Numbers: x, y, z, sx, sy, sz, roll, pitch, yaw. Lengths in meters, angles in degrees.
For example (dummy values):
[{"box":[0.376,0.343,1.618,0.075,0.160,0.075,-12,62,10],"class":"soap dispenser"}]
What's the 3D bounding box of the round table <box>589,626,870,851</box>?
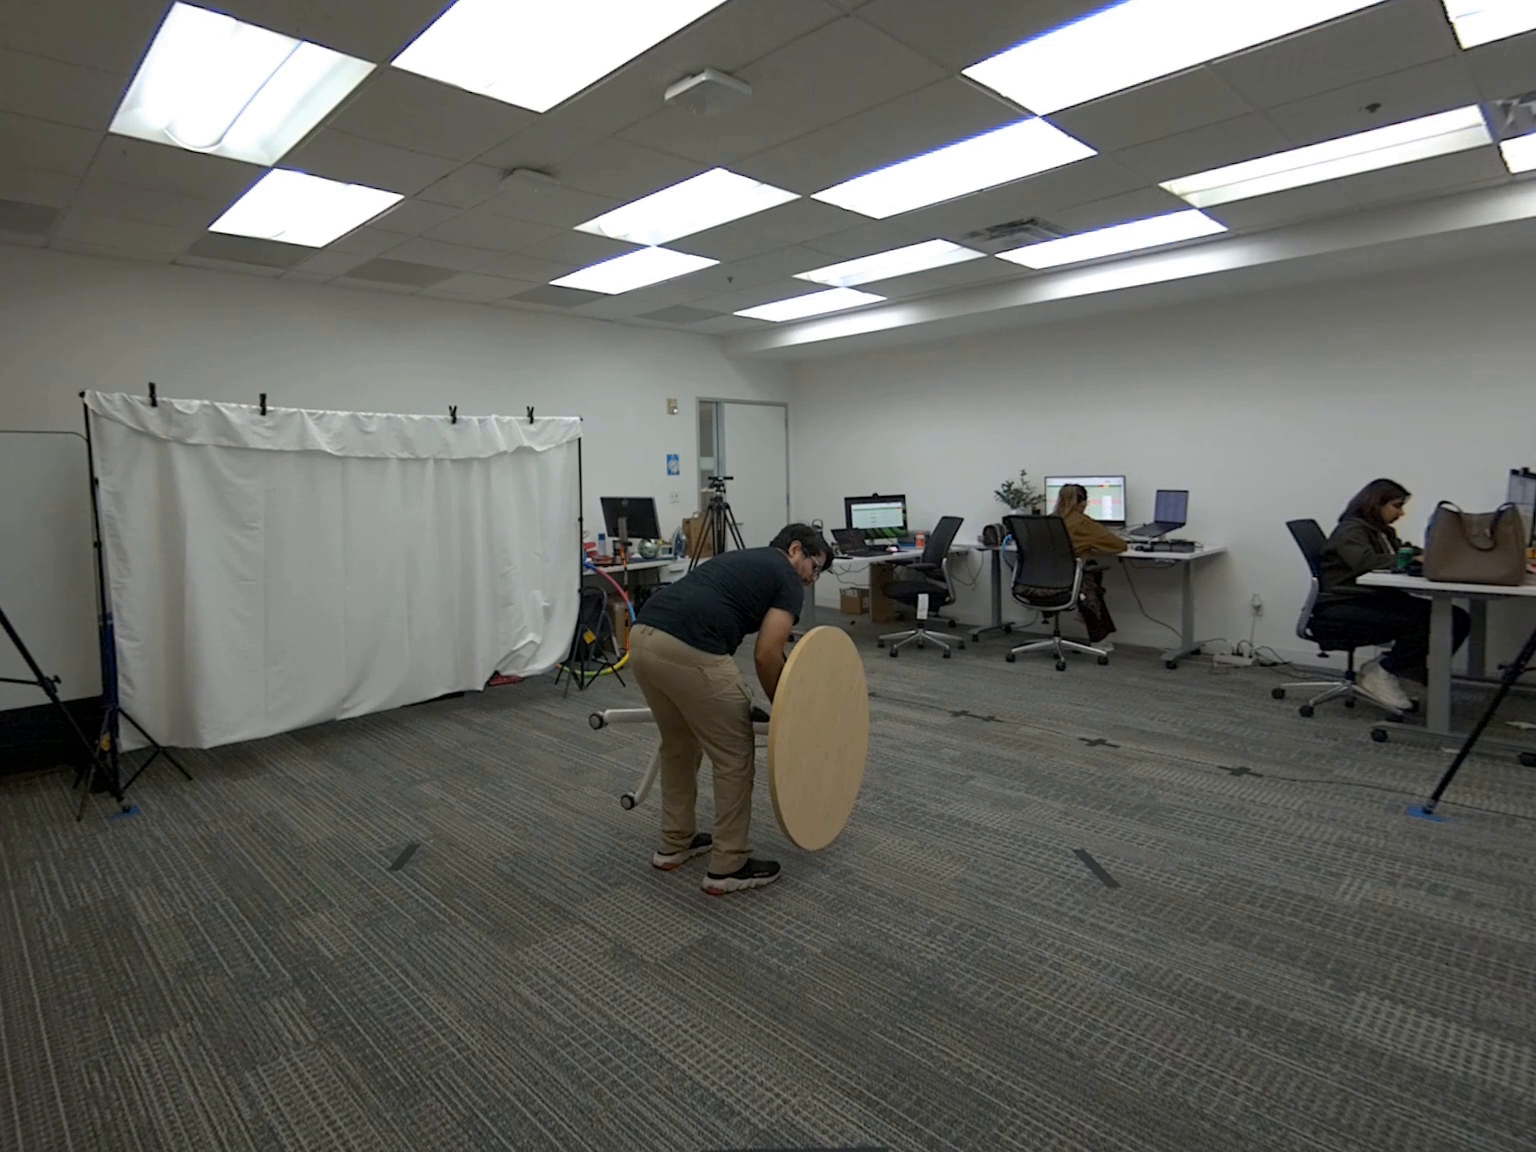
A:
[{"box":[-0.137,0.550,3.218,0.807,0.782,0.767,1,6,31],"class":"round table"}]
